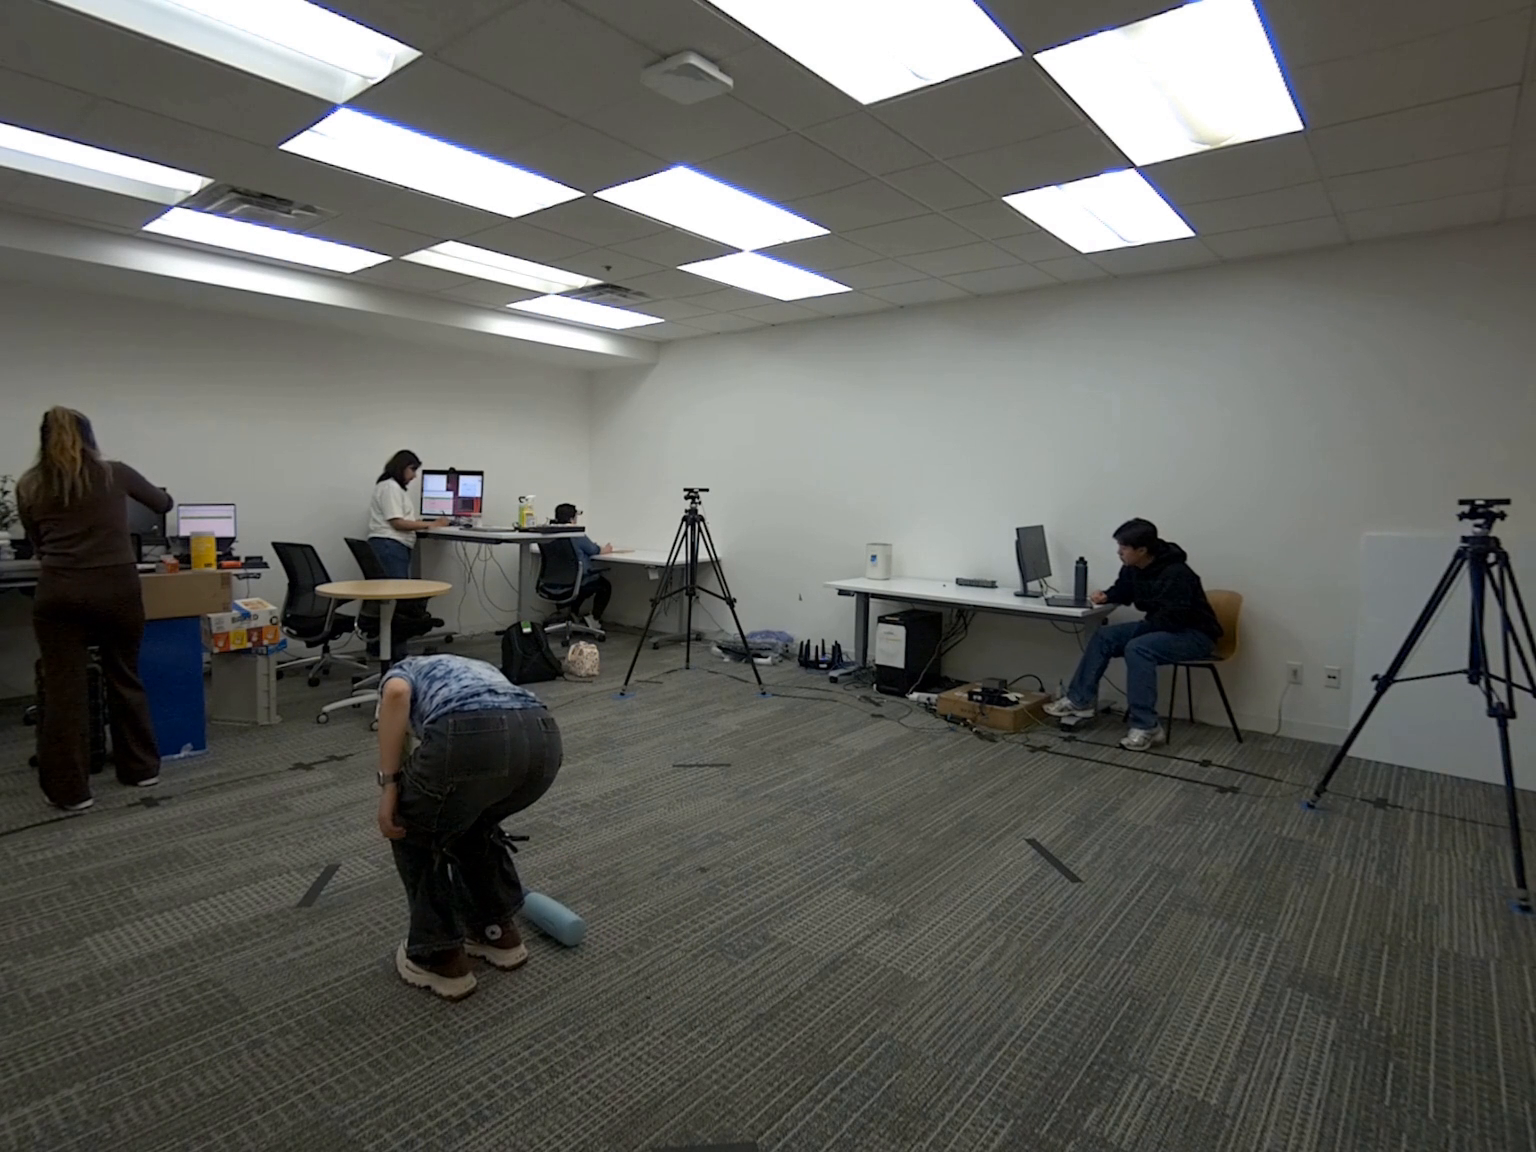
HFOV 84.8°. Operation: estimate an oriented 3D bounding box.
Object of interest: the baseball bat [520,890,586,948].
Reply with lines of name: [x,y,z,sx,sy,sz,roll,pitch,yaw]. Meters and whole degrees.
baseball bat: [-0.796,1.049,2.740,0.562,0.089,0.086,7,7,42]
